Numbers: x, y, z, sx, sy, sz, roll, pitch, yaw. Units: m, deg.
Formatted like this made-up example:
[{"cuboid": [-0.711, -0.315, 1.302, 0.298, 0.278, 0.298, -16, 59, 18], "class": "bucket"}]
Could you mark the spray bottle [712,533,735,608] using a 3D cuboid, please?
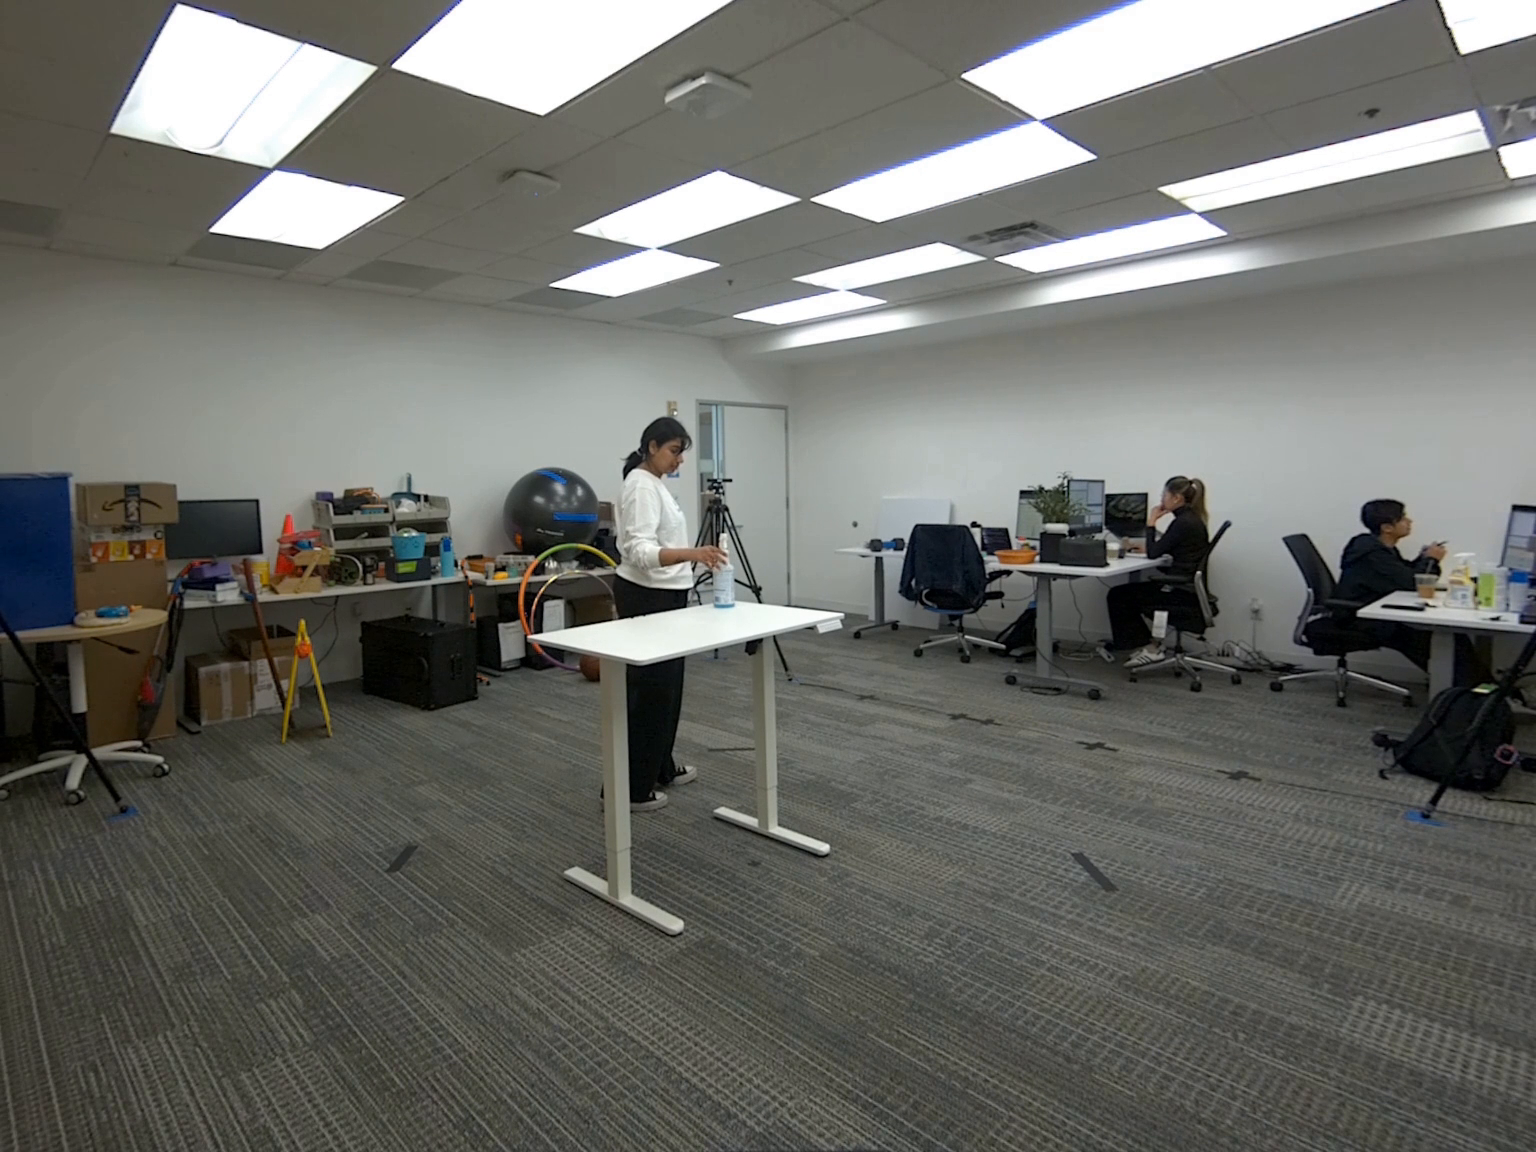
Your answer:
[{"cuboid": [-0.183, -0.021, 3.431, 0.088, 0.296, 0.089, 0, 3, 15], "class": "spray bottle"}]
